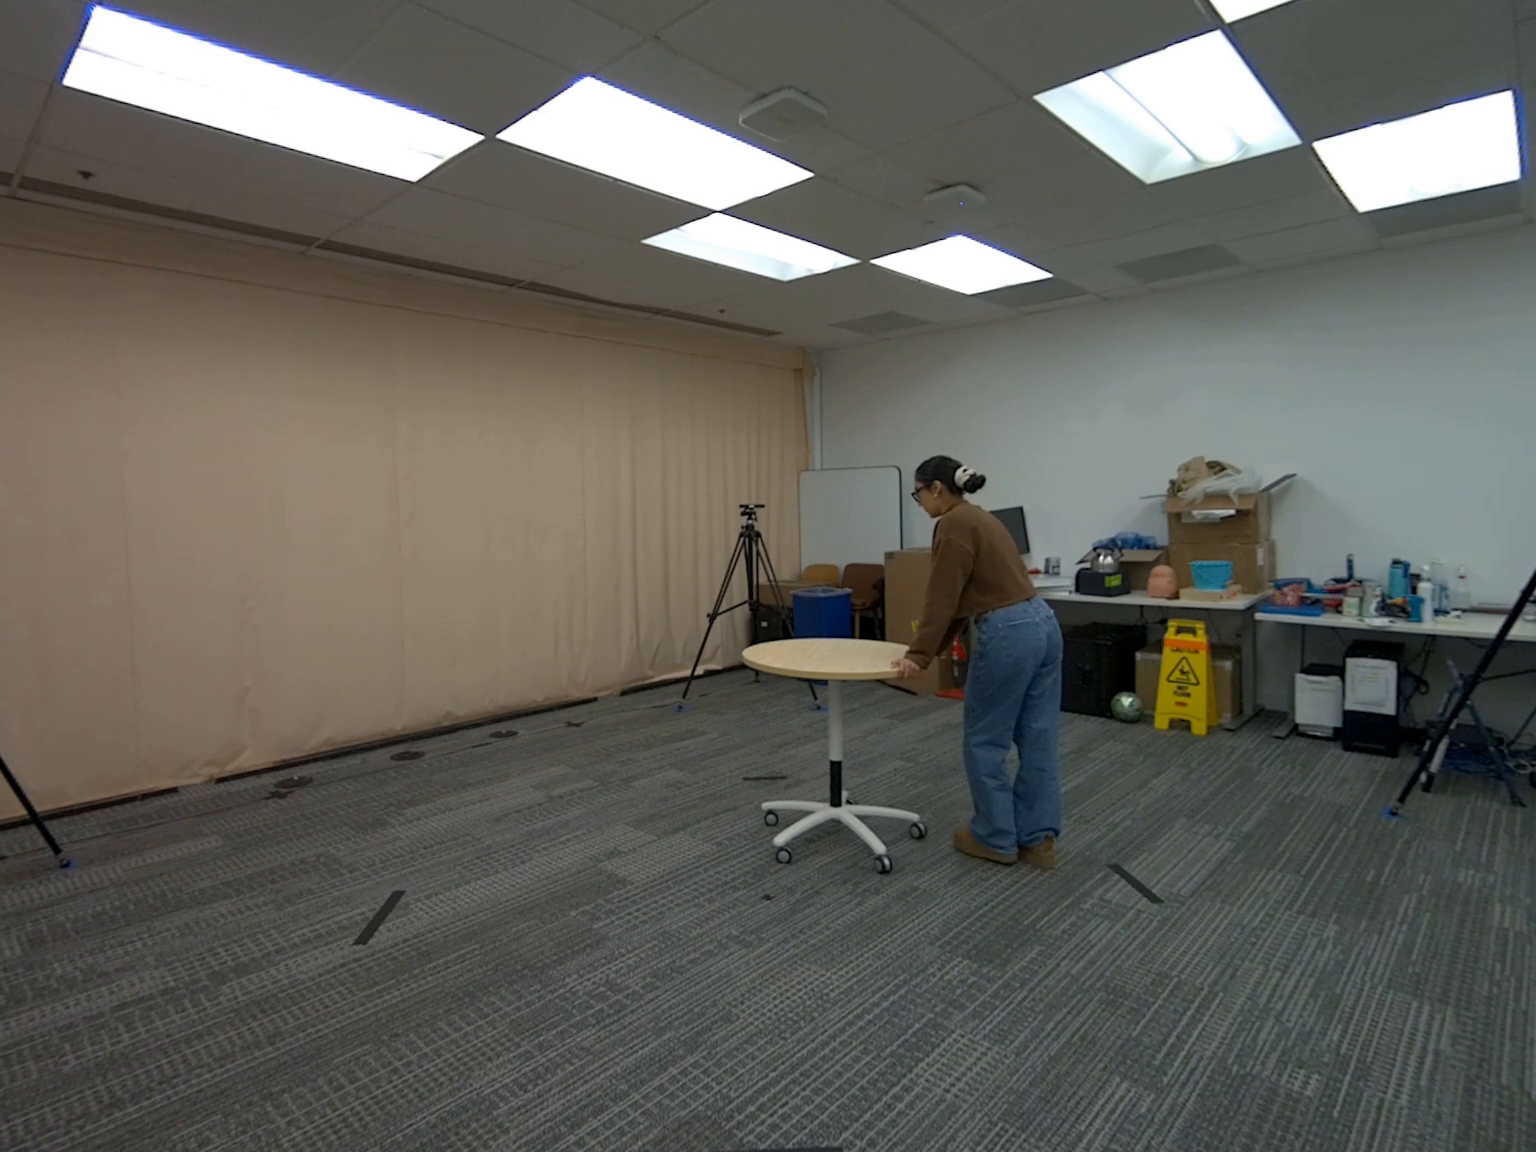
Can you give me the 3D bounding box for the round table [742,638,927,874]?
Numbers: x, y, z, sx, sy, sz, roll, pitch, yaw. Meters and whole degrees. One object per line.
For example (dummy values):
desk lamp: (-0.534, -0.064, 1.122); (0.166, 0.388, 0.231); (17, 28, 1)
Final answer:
round table: (0.288, 0.711, 3.480); (0.763, 0.792, 0.766); (0, 3, -2)
